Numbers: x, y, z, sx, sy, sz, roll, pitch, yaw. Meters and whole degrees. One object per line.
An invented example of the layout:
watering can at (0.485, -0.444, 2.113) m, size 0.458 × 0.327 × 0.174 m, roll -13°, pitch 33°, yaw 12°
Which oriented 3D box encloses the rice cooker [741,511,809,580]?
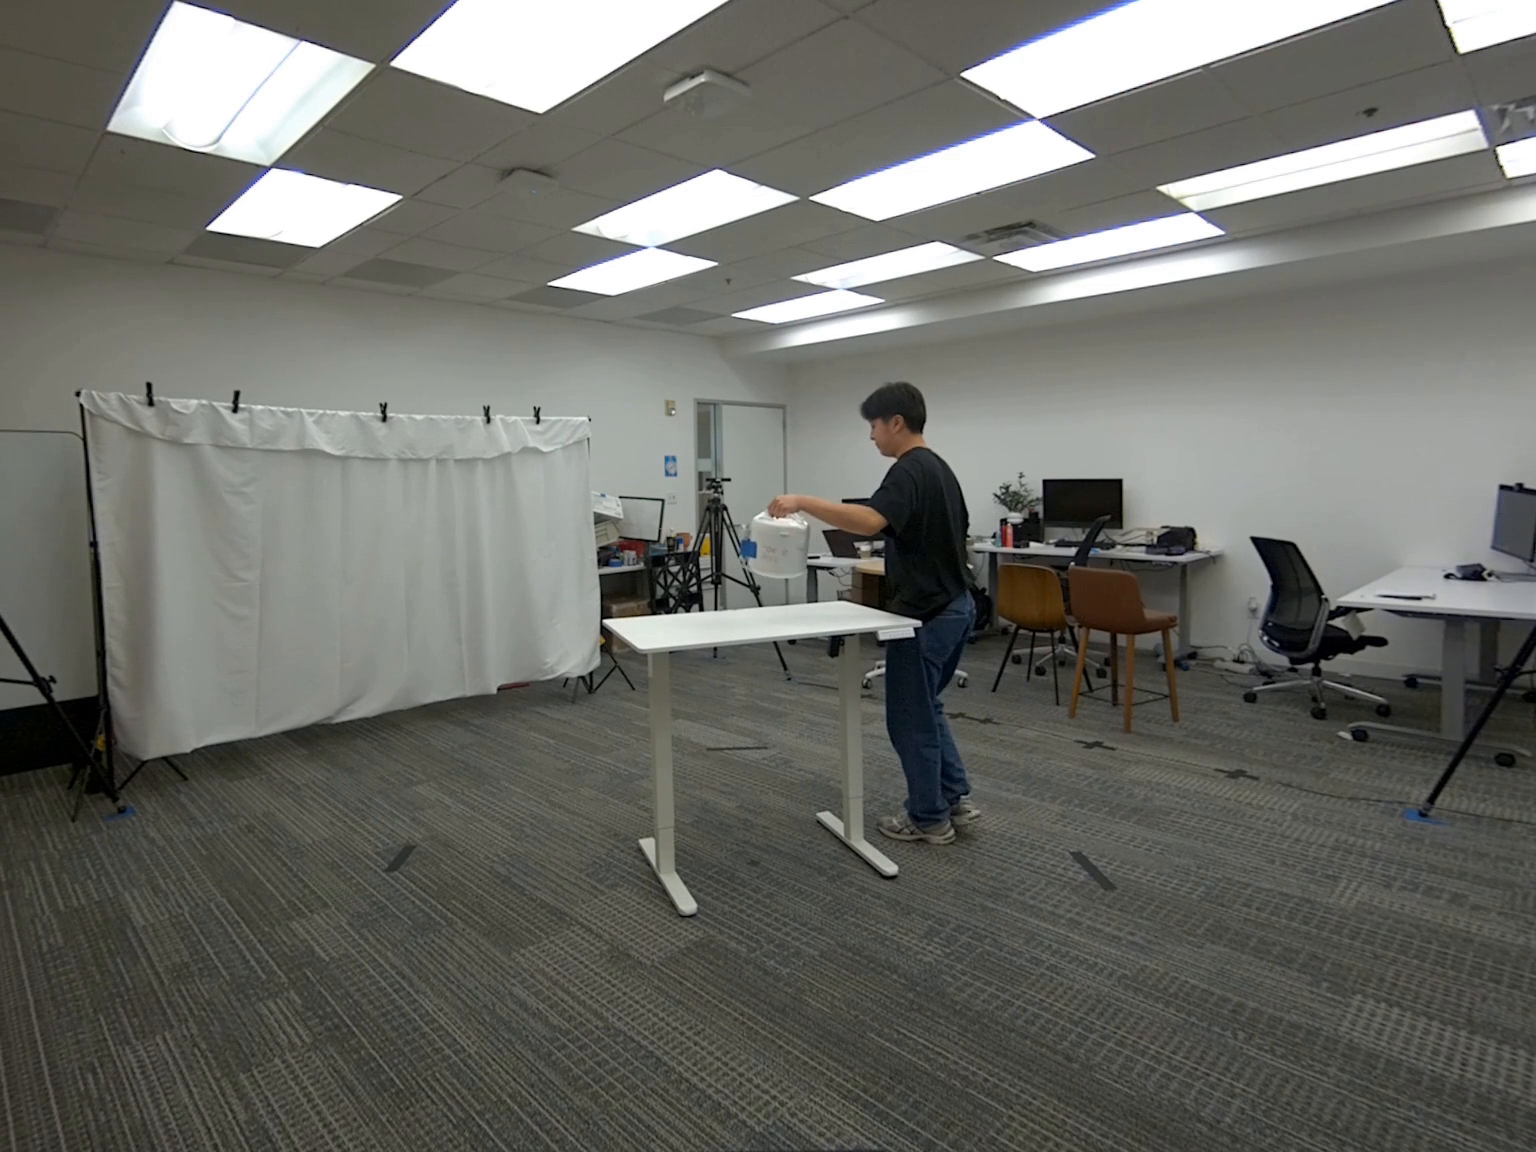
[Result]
rice cooker at (0.044, -0.124, 3.010) m, size 0.212 × 0.230 × 0.228 m, roll -7°, pitch 17°, yaw -44°
